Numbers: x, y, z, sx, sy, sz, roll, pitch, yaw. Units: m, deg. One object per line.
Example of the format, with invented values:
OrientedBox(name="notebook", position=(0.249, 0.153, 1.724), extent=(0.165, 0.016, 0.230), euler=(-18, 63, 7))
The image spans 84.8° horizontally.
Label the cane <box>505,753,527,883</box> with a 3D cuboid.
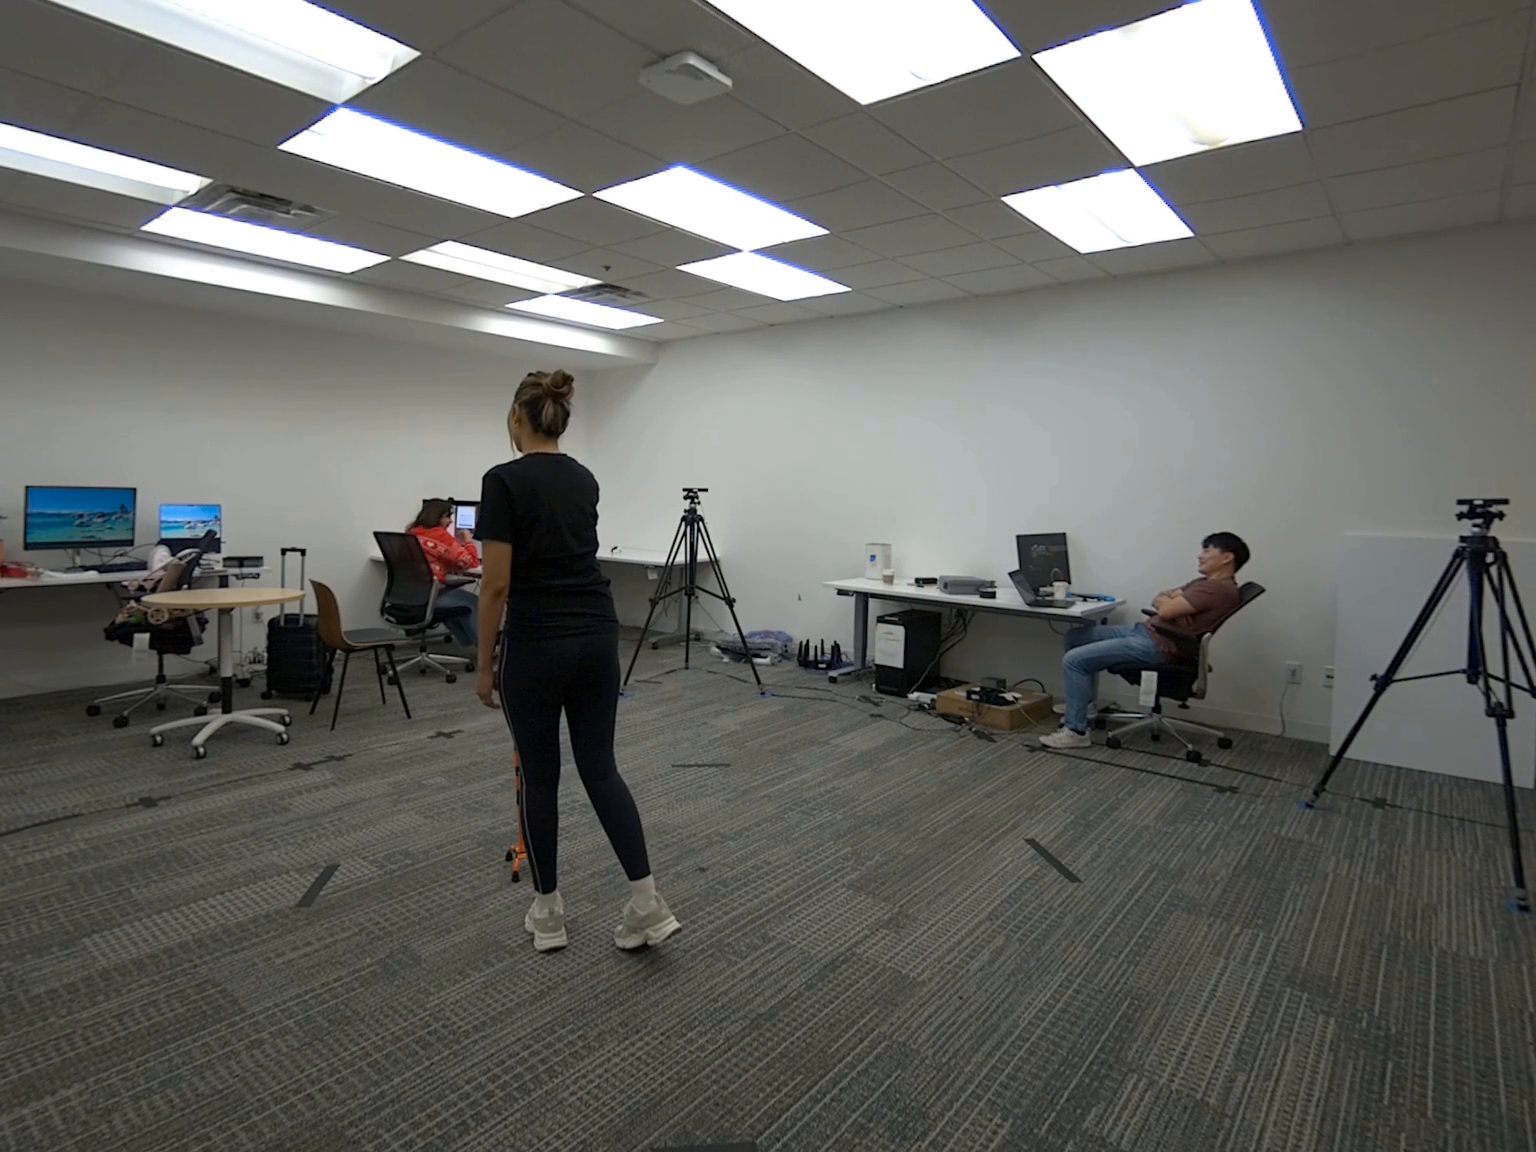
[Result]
OrientedBox(name="cane", position=(-0.889, 0.602, 3.061), extent=(0.148, 0.904, 0.212), euler=(-3, 4, -24))
